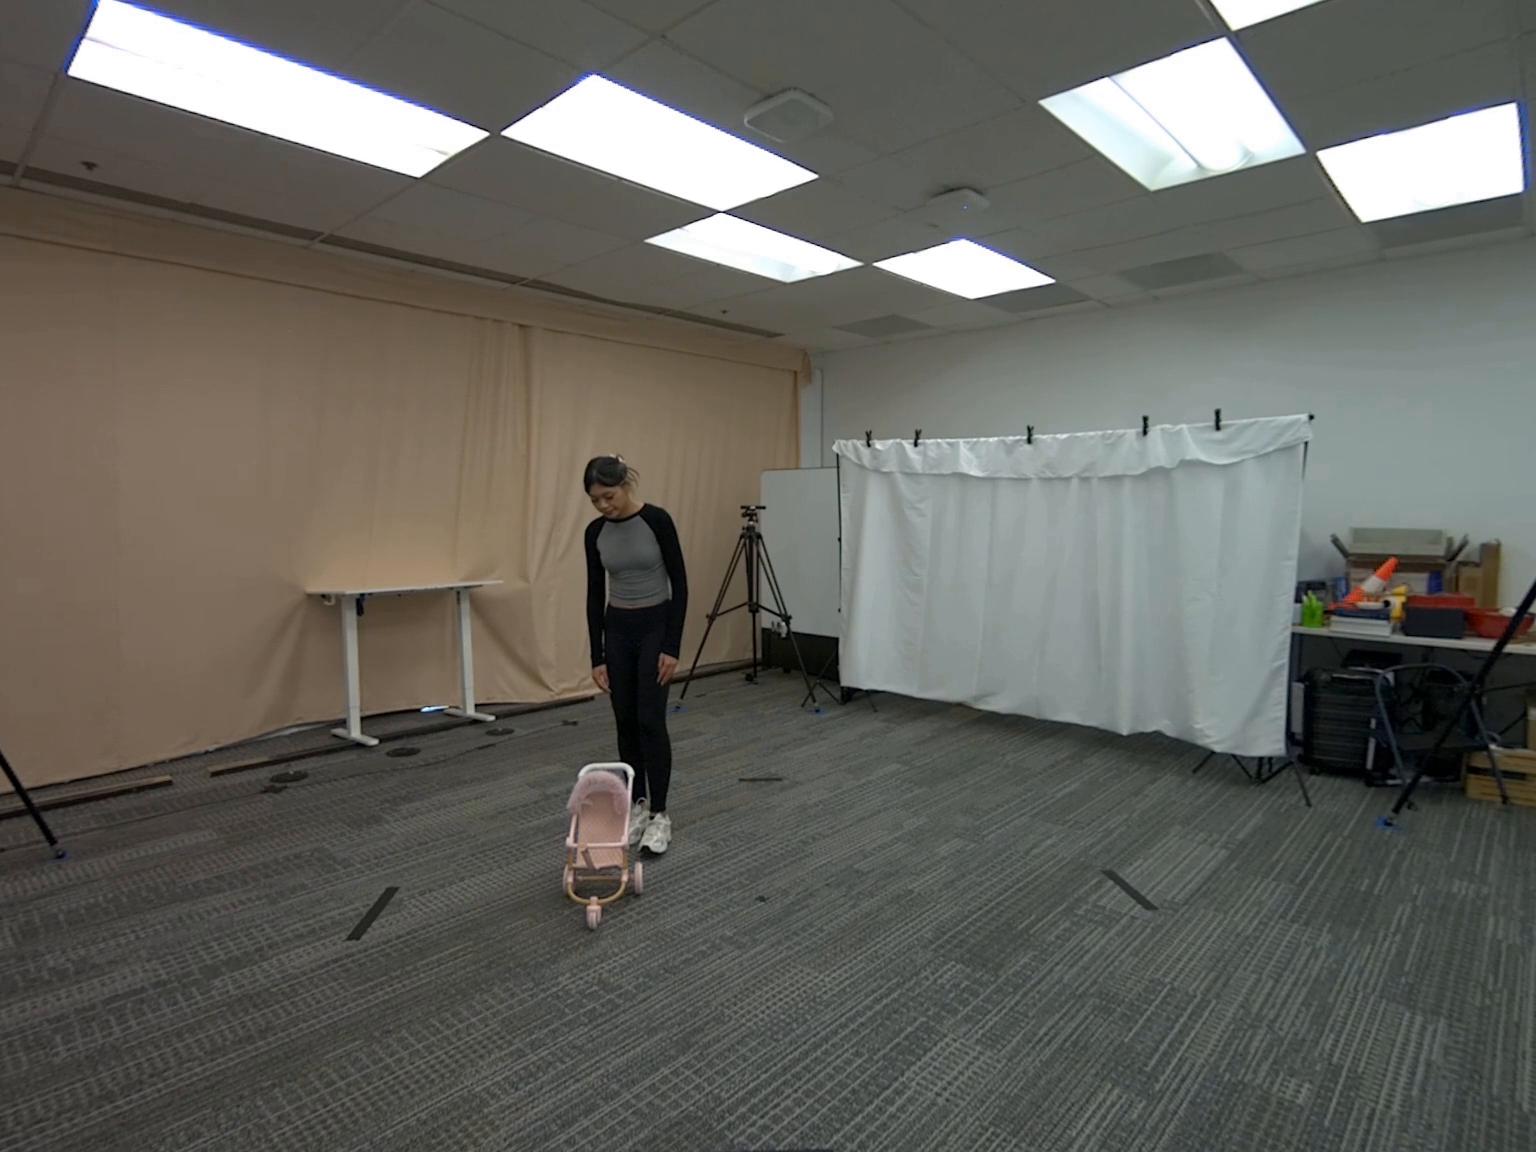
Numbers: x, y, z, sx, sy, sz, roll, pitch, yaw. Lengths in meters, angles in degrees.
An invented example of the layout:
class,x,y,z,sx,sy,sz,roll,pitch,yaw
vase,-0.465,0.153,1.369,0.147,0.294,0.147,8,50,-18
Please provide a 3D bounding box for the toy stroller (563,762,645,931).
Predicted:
class,x,y,z,sx,sy,sz,roll,pitch,yaw
toy stroller,-0.592,0.926,2.960,0.282,0.539,0.337,-1,-13,2
